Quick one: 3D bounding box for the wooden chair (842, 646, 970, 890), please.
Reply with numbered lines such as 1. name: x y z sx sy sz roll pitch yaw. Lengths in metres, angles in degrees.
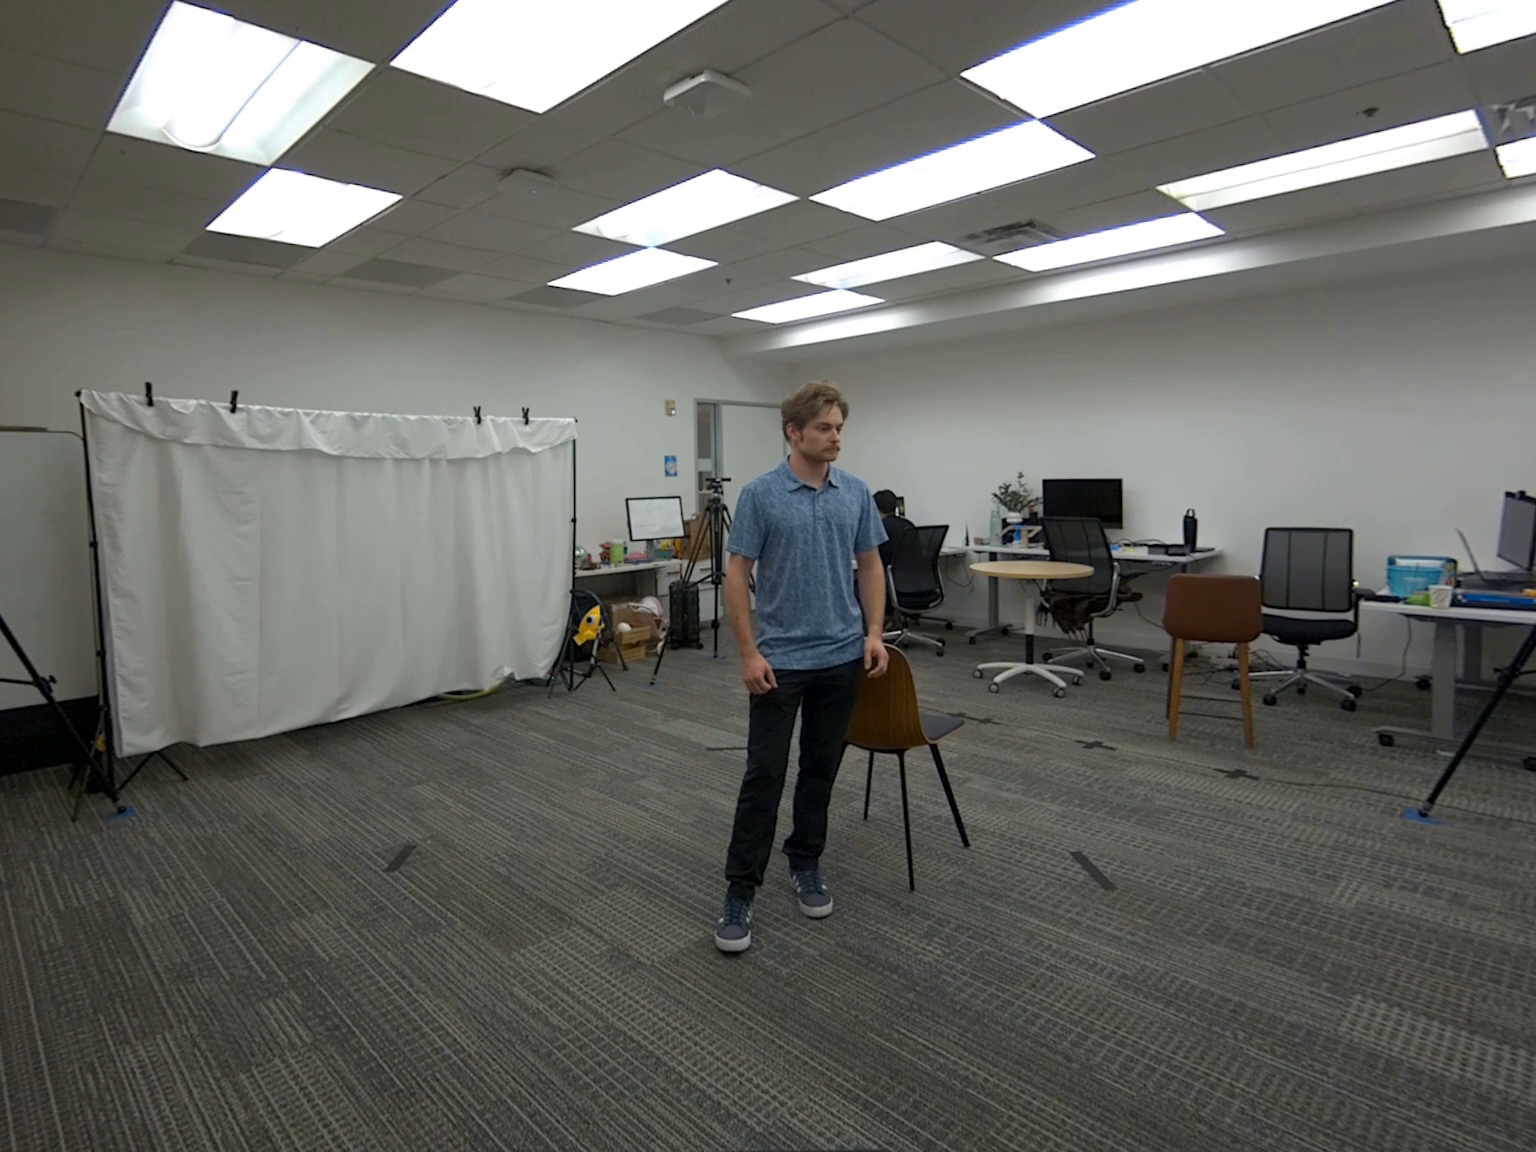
1. wooden chair: 0.441 0.600 3.162 0.492 0.871 0.512 2 10 38
